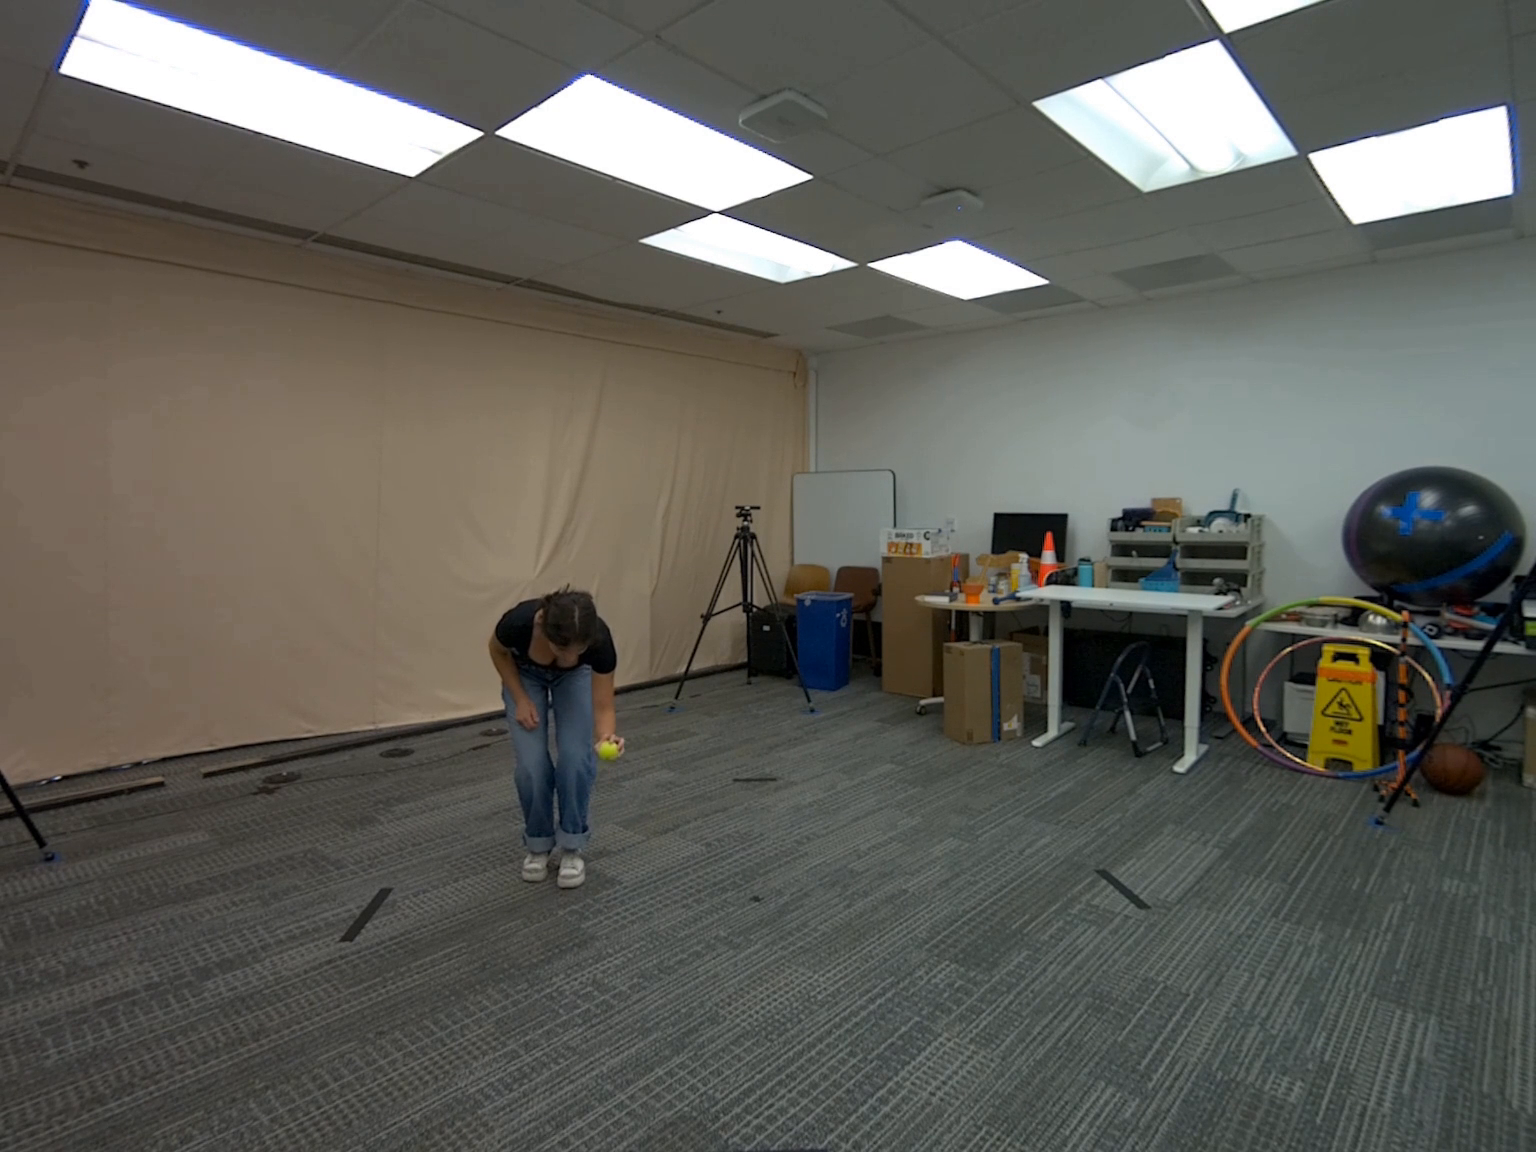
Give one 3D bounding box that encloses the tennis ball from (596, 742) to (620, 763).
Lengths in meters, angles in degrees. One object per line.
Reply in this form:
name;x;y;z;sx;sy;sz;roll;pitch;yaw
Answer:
tennis ball;-0.513;0.611;2.751;0.066;0.066;0.067;0;4;-2
